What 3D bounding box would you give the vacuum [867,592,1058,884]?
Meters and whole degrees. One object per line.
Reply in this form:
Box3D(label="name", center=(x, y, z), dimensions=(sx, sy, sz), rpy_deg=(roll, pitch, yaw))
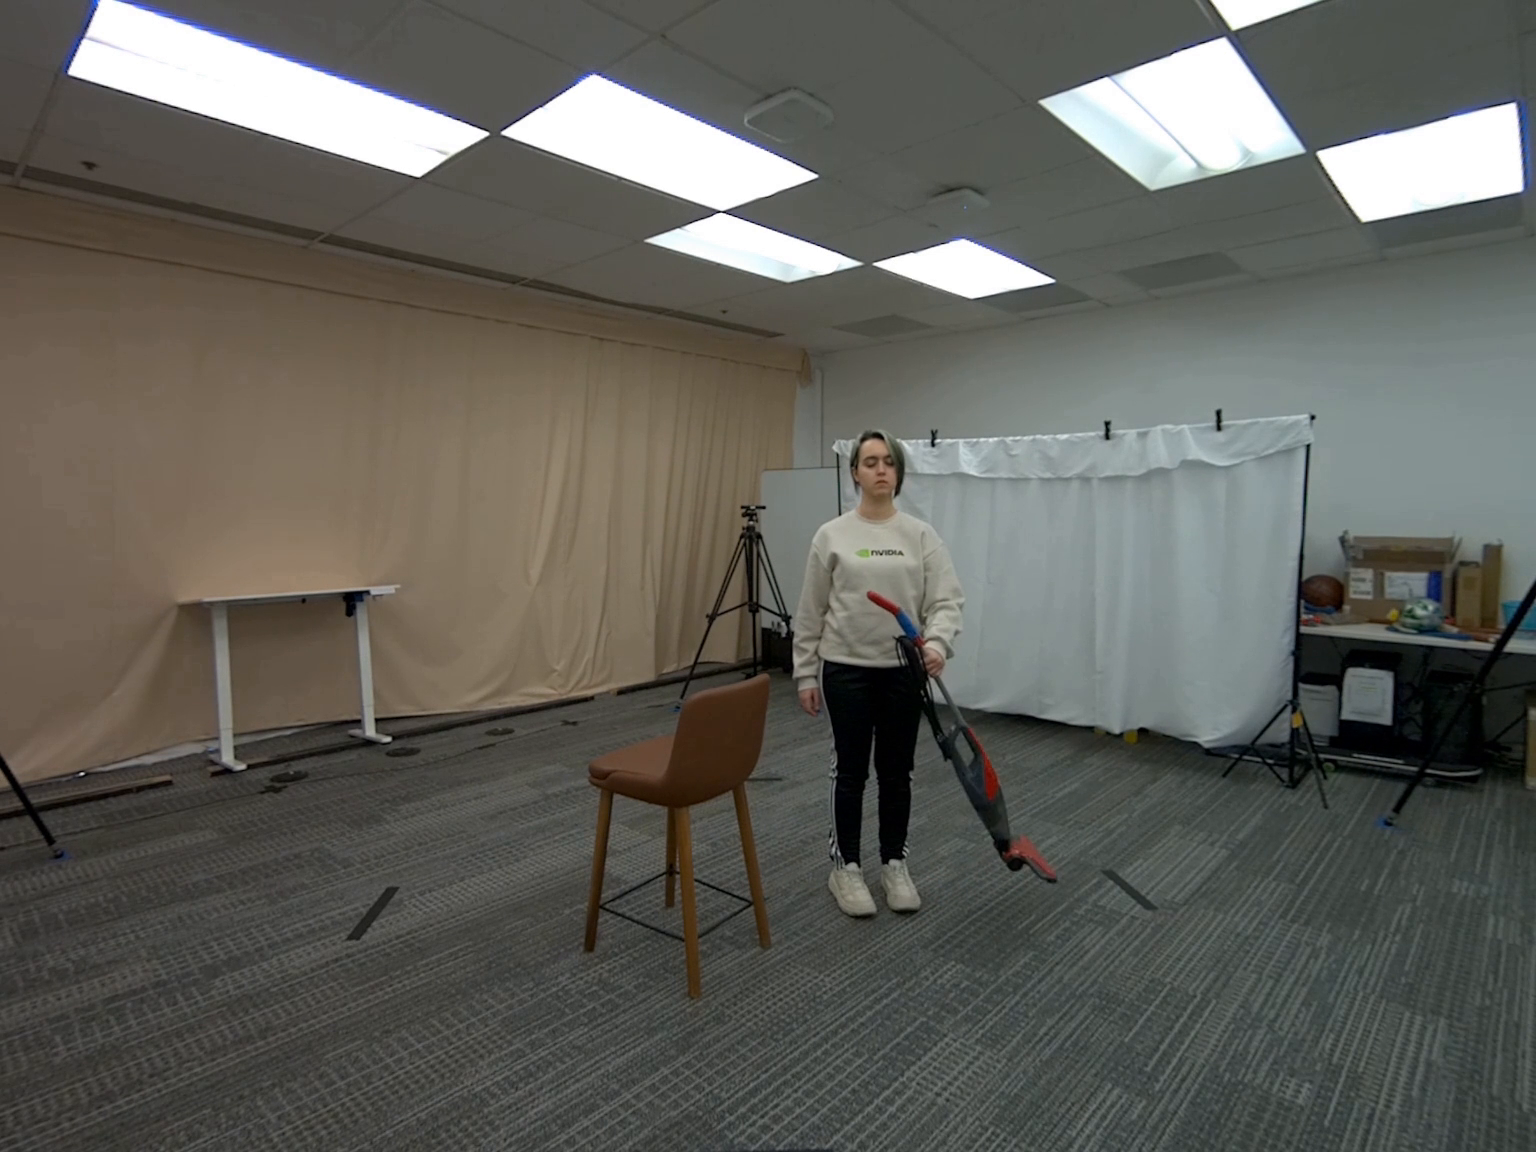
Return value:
Box3D(label="vacuum", center=(0.586, 0.497, 2.673), dimensions=(0.143, 1.036, 0.257), rpy_deg=(-31, 12, -9))
